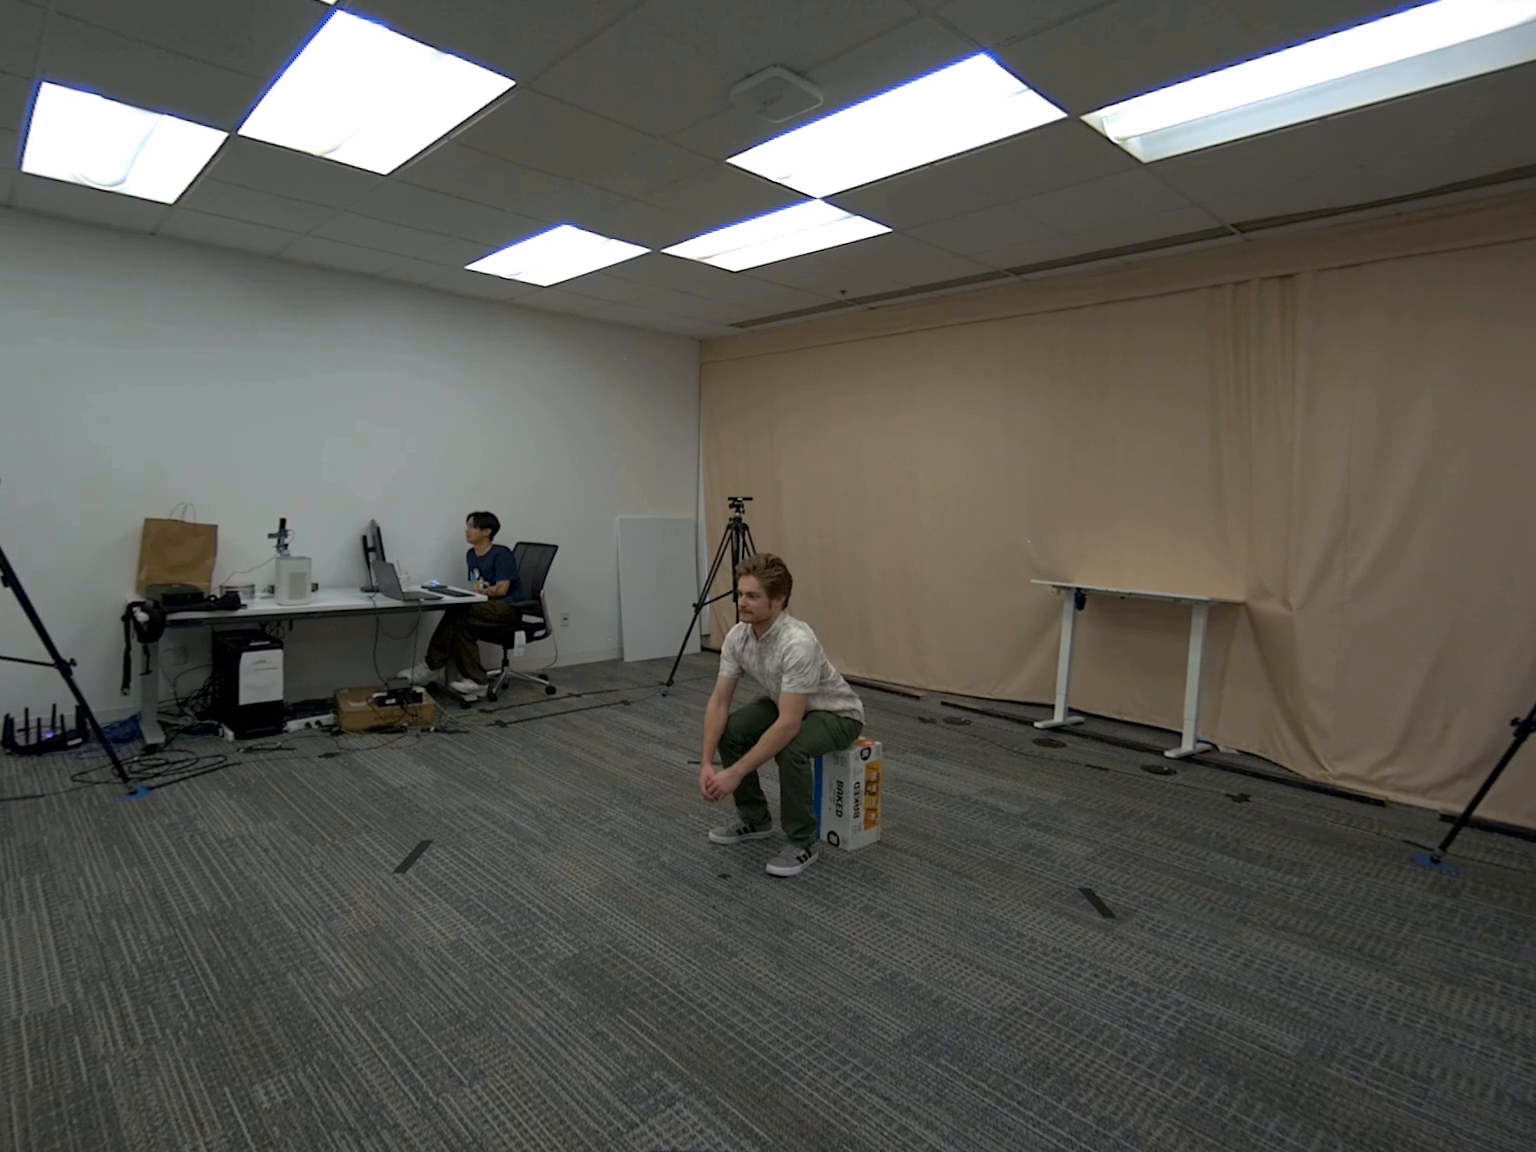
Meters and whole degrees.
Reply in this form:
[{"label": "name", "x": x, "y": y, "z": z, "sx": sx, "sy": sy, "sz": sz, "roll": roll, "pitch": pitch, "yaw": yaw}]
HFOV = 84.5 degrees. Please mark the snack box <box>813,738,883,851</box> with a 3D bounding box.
[{"label": "snack box", "x": 0.274, "y": 0.881, "z": 3.536, "sx": 0.201, "sy": 0.404, "sz": 0.349, "roll": -2, "pitch": 5, "yaw": -41}]
